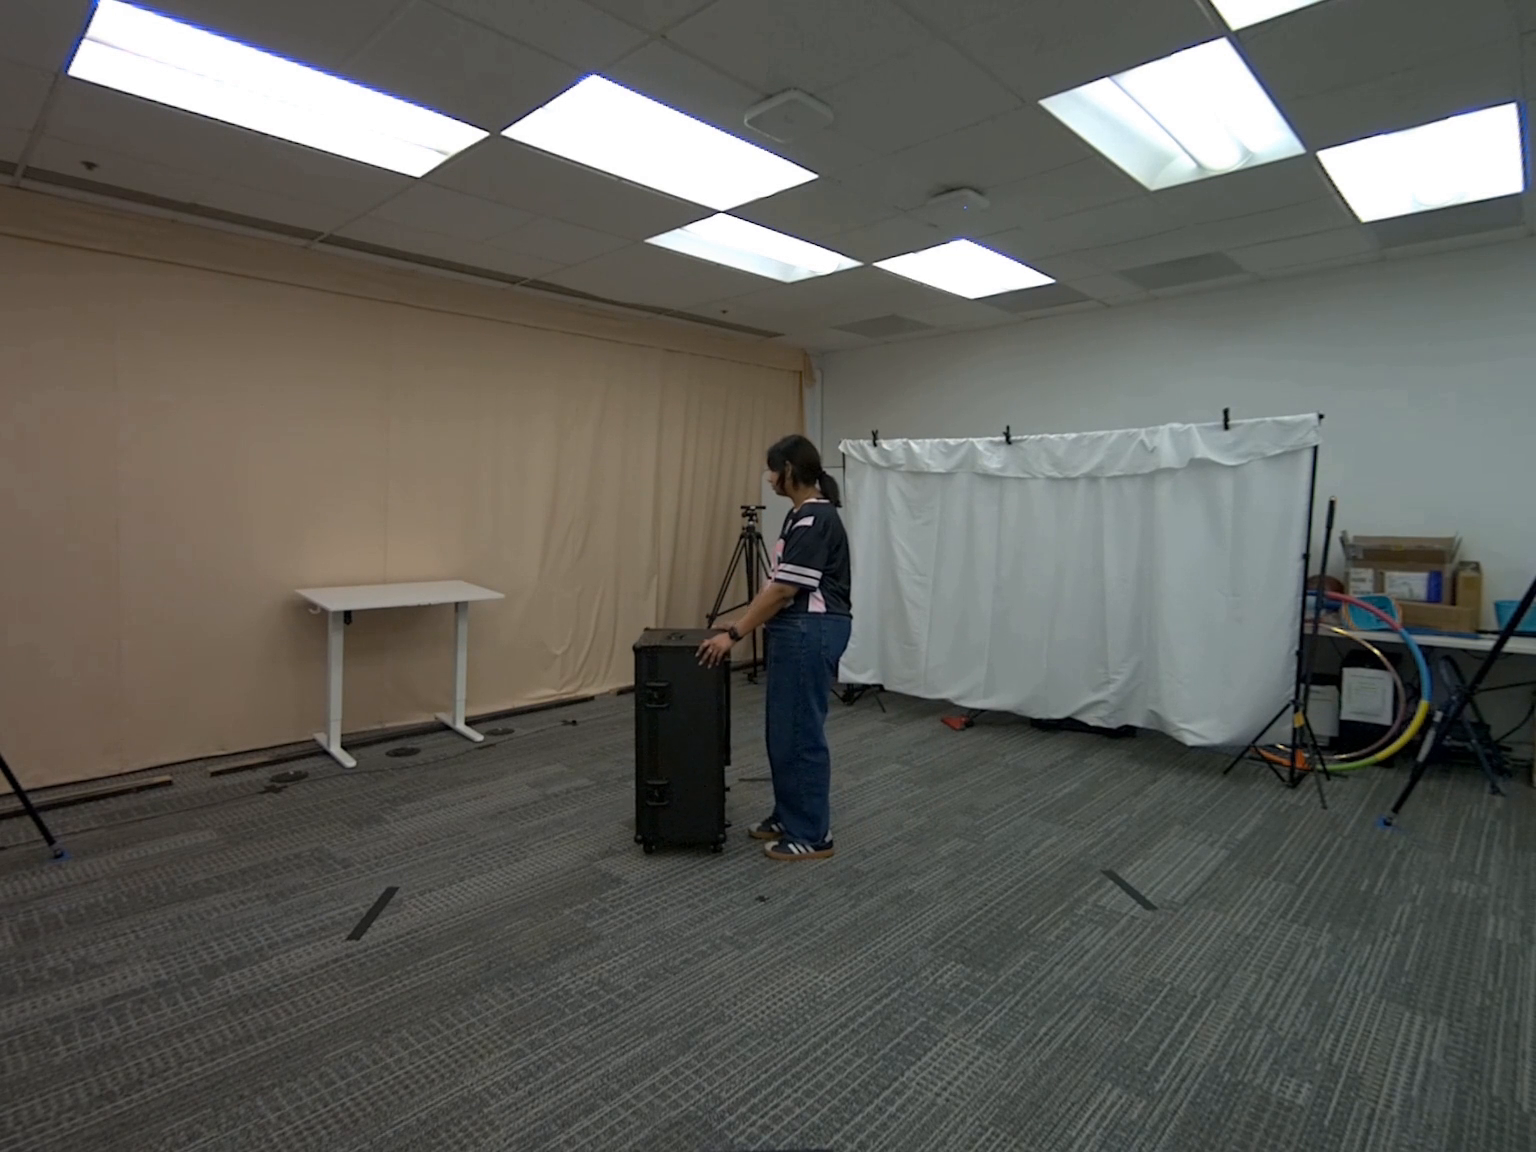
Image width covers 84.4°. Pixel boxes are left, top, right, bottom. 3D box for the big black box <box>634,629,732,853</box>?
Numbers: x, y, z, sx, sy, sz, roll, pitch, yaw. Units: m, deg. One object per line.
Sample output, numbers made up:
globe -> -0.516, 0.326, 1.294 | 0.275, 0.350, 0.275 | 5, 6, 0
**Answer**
big black box -> -0.351, 0.680, 3.538 | 0.385, 0.867, 0.525 | 0, 3, -2
